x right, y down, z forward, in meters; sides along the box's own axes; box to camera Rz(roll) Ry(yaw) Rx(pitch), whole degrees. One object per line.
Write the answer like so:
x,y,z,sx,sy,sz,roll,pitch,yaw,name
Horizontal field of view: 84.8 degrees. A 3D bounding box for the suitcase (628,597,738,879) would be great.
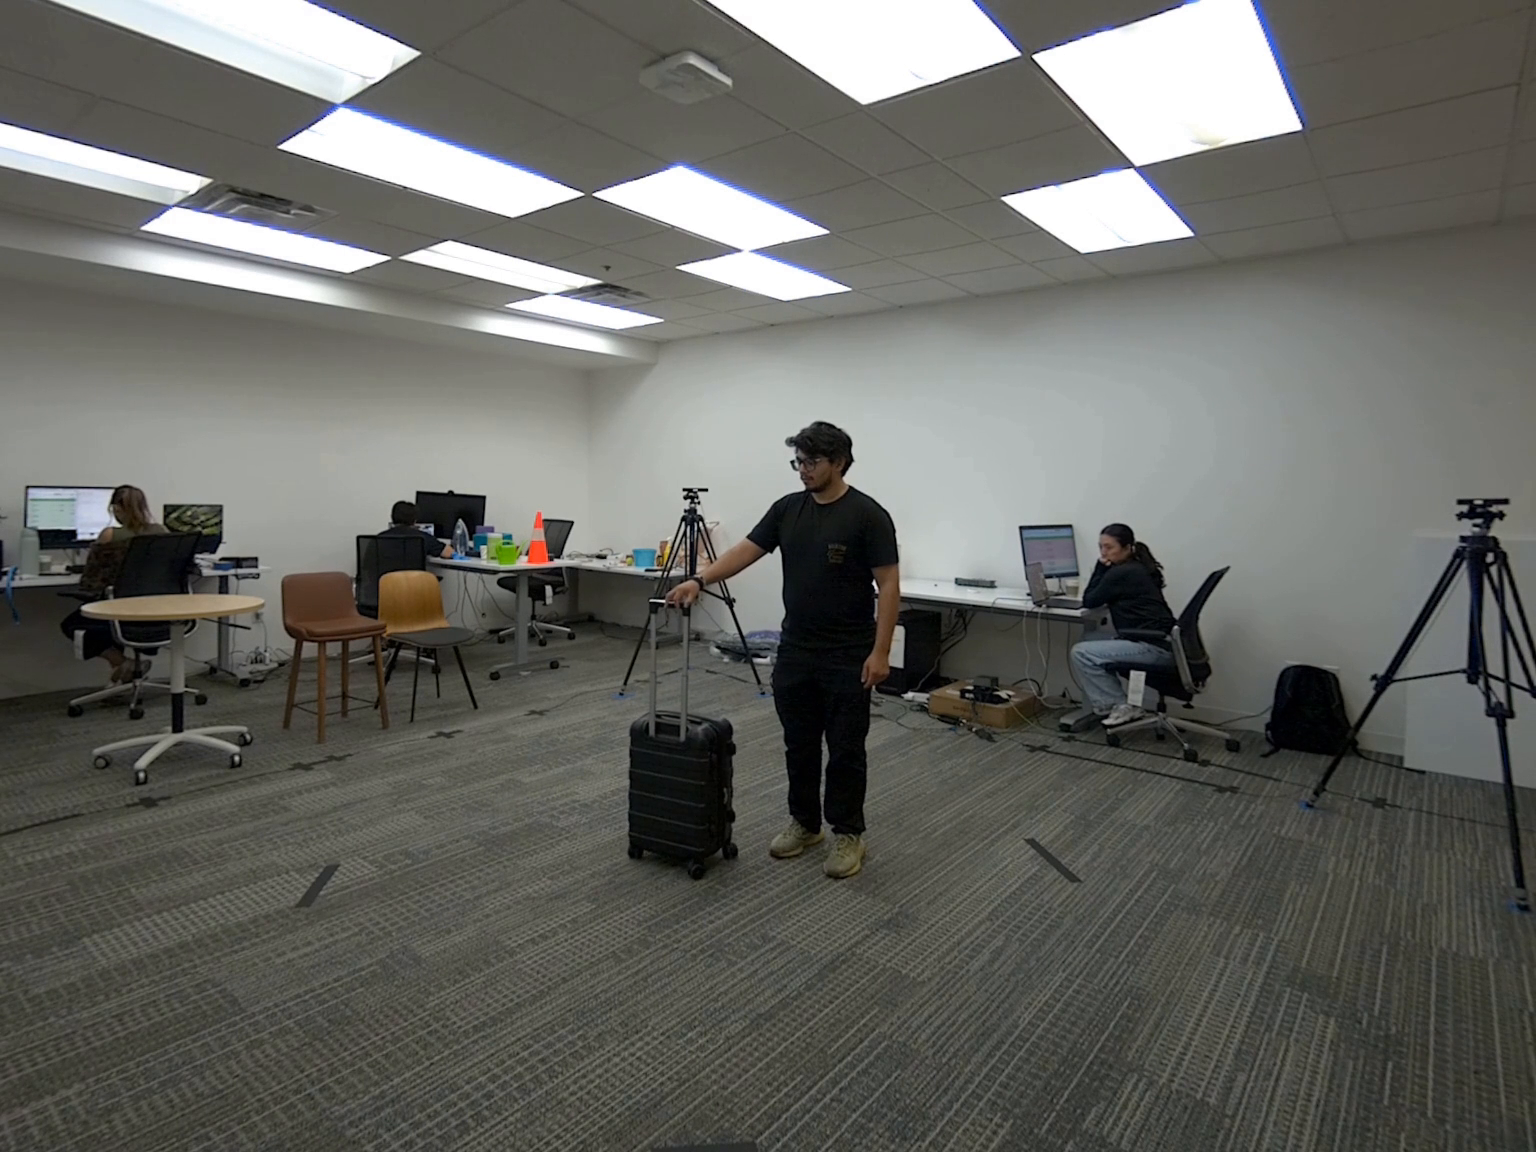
-0.334,0.583,3.188,0.395,0.977,0.250,2,2,28,suitcase
